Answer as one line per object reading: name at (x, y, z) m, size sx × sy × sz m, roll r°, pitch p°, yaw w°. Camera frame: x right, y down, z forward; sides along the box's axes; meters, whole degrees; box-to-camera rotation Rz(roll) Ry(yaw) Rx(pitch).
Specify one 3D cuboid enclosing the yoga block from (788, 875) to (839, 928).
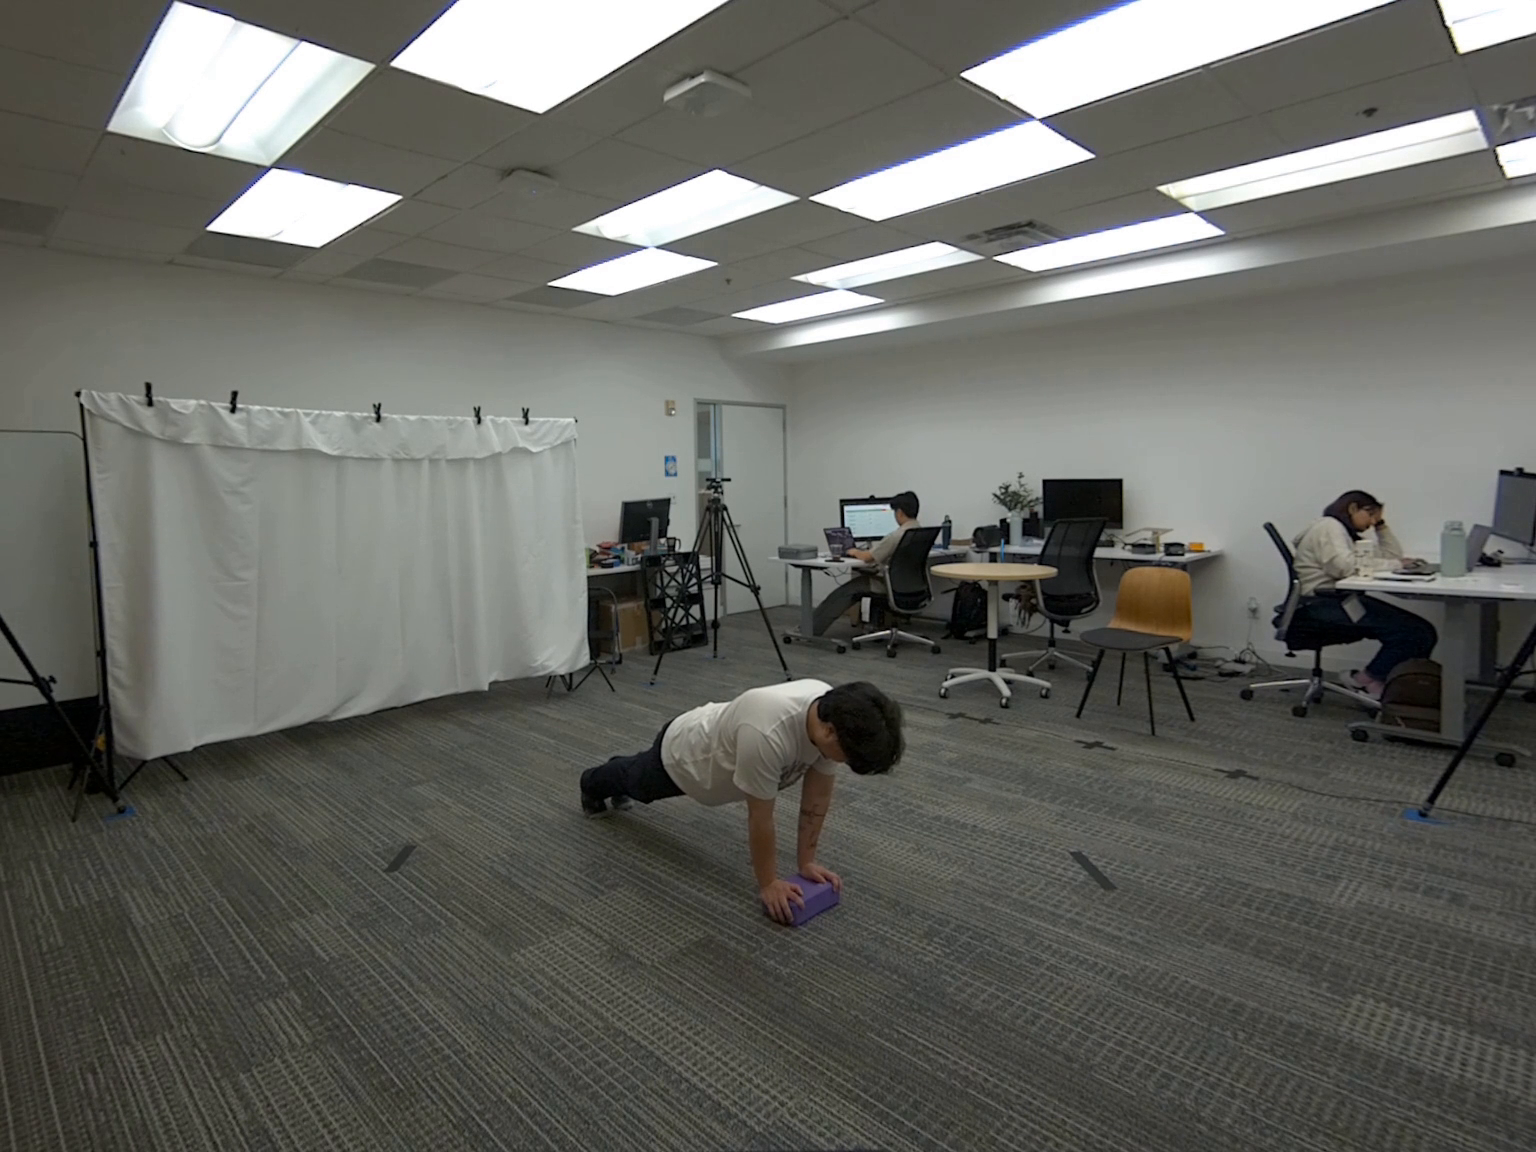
yoga block at (0.111, 1.043, 2.776) m, size 0.154 × 0.076 × 0.223 m, roll 6°, pitch 9°, yaw 43°
